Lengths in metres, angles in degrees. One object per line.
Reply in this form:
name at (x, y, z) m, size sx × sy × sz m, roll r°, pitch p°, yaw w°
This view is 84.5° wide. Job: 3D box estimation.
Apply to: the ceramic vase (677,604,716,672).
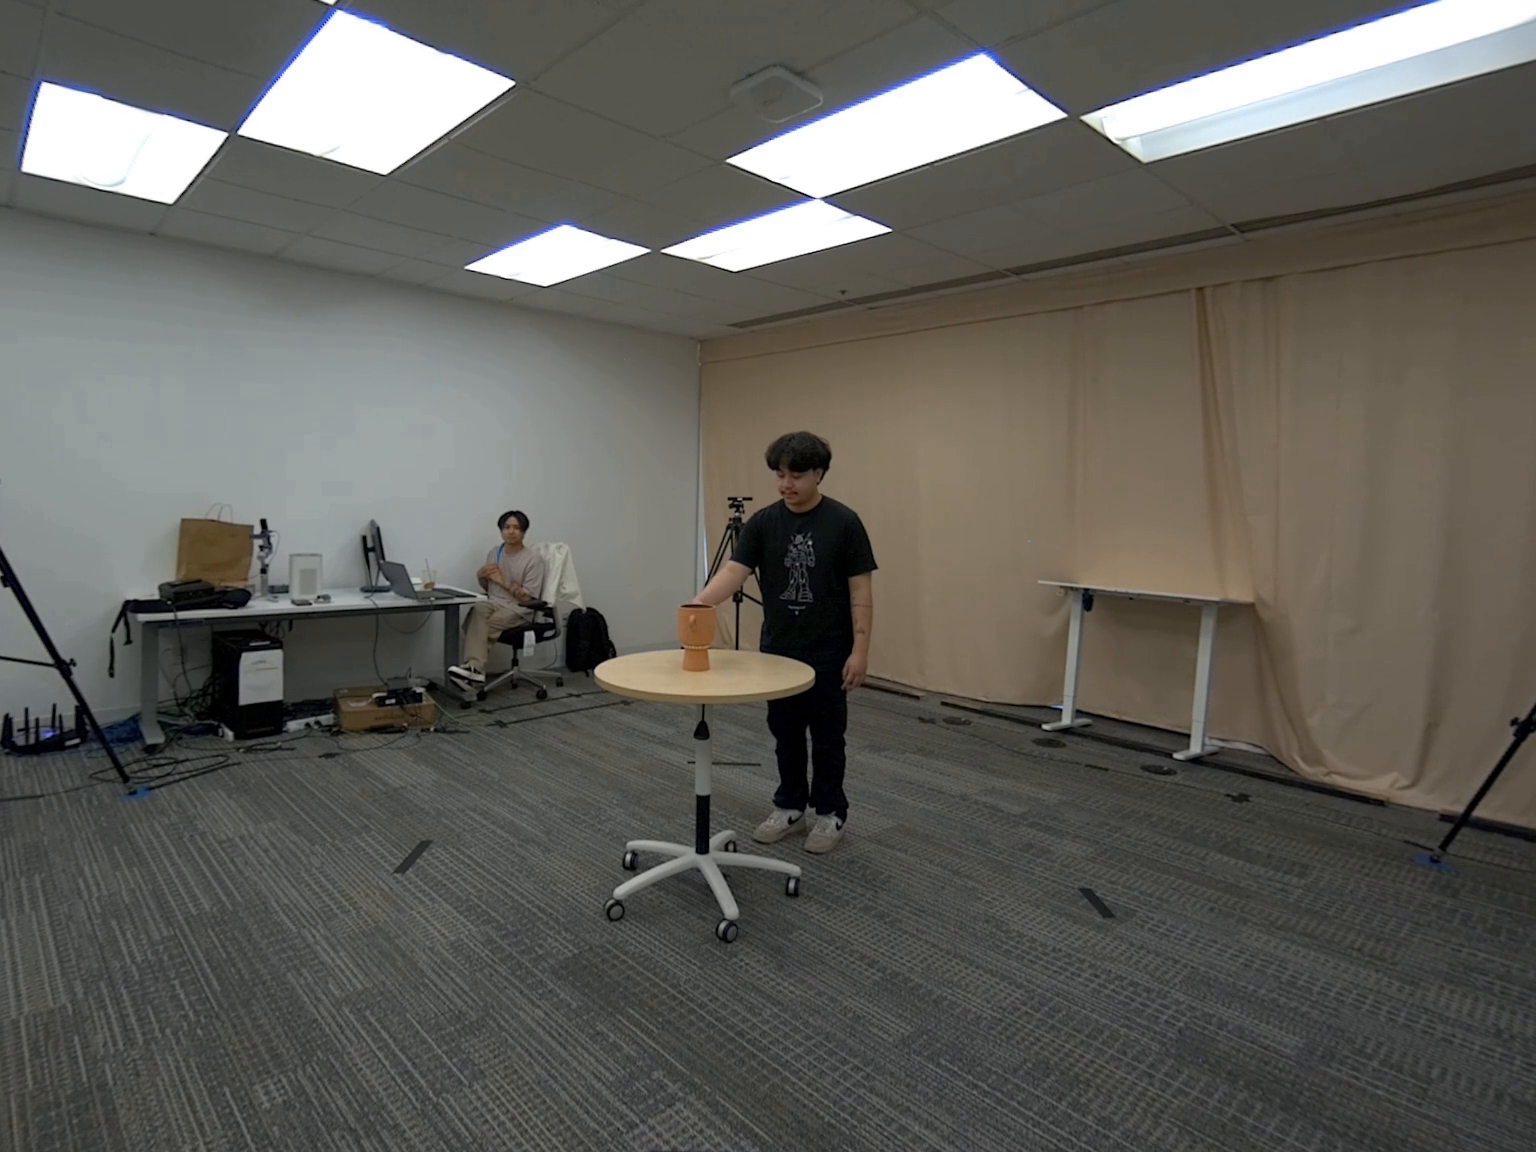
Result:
ceramic vase at (-0.261, 0.217, 2.945) m, size 0.155 × 0.219 × 0.138 m, roll -2°, pitch 5°, yaw -45°
